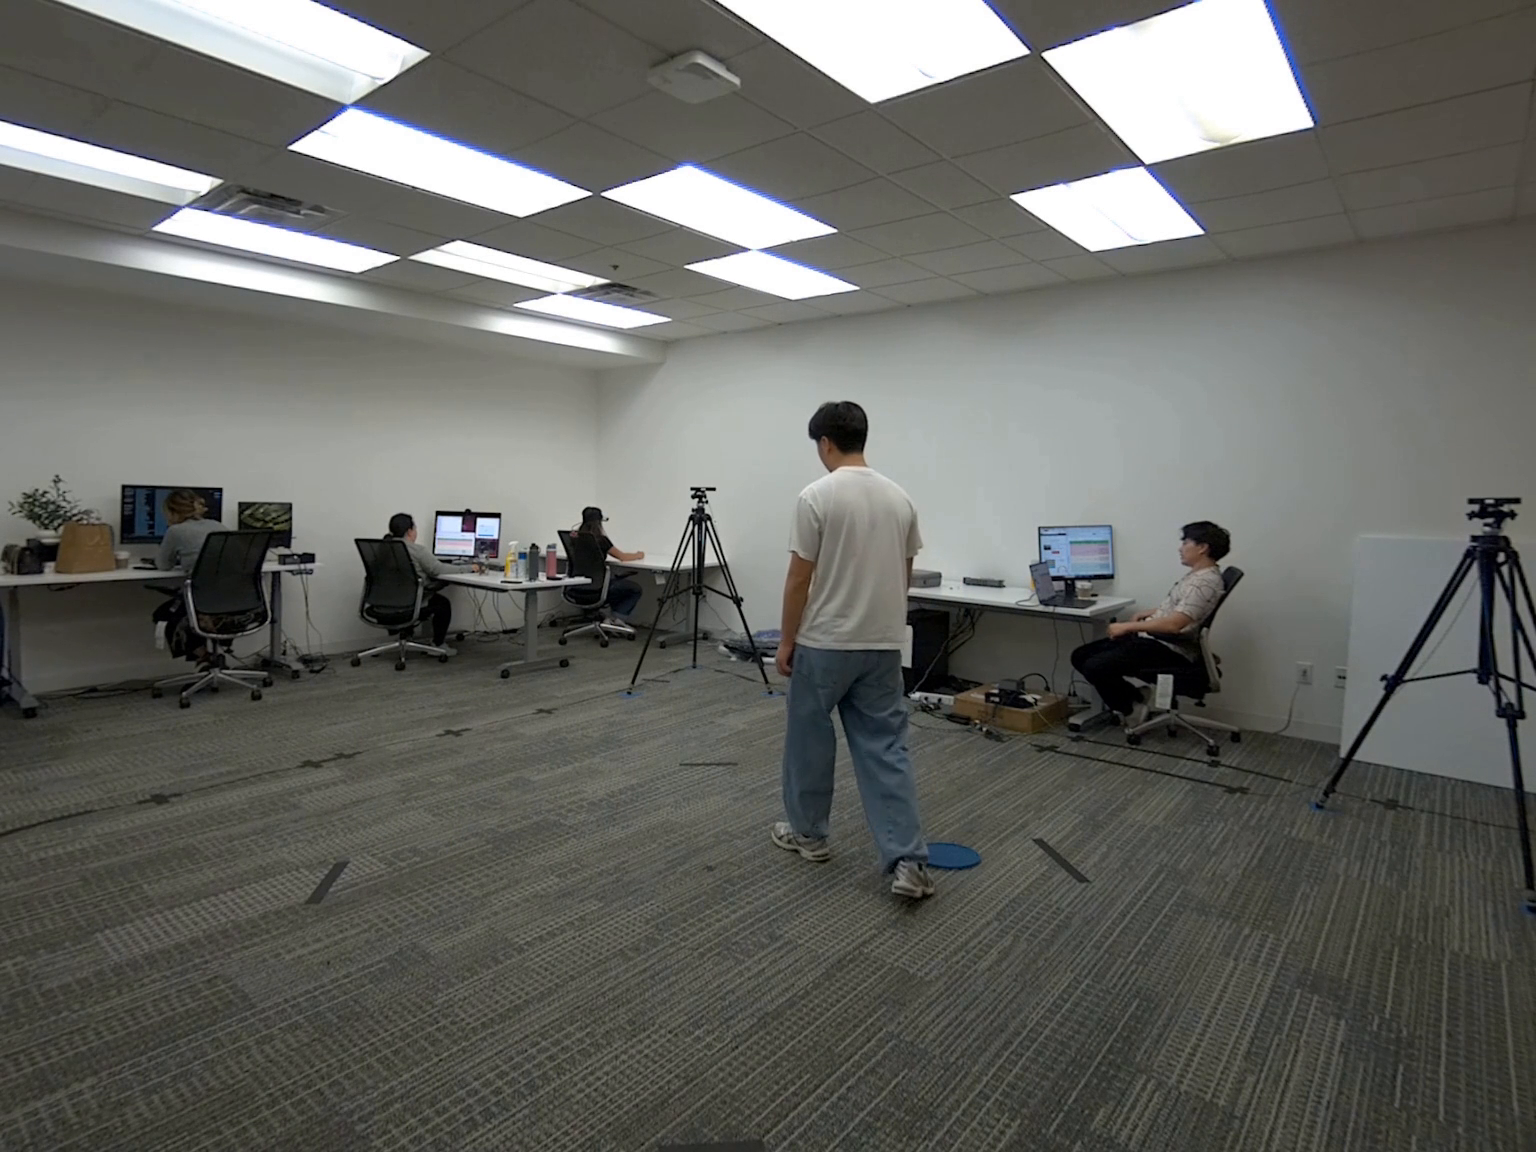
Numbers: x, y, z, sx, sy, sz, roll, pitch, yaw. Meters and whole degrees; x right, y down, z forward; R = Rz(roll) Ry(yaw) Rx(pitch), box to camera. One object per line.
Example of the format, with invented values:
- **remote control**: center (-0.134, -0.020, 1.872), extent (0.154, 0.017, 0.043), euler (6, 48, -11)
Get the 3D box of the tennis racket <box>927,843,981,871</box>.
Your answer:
- **tennis racket**: center (0.605, 1.059, 3.218), extent (0.423, 0.031, 0.220), euler (0, 6, -24)
